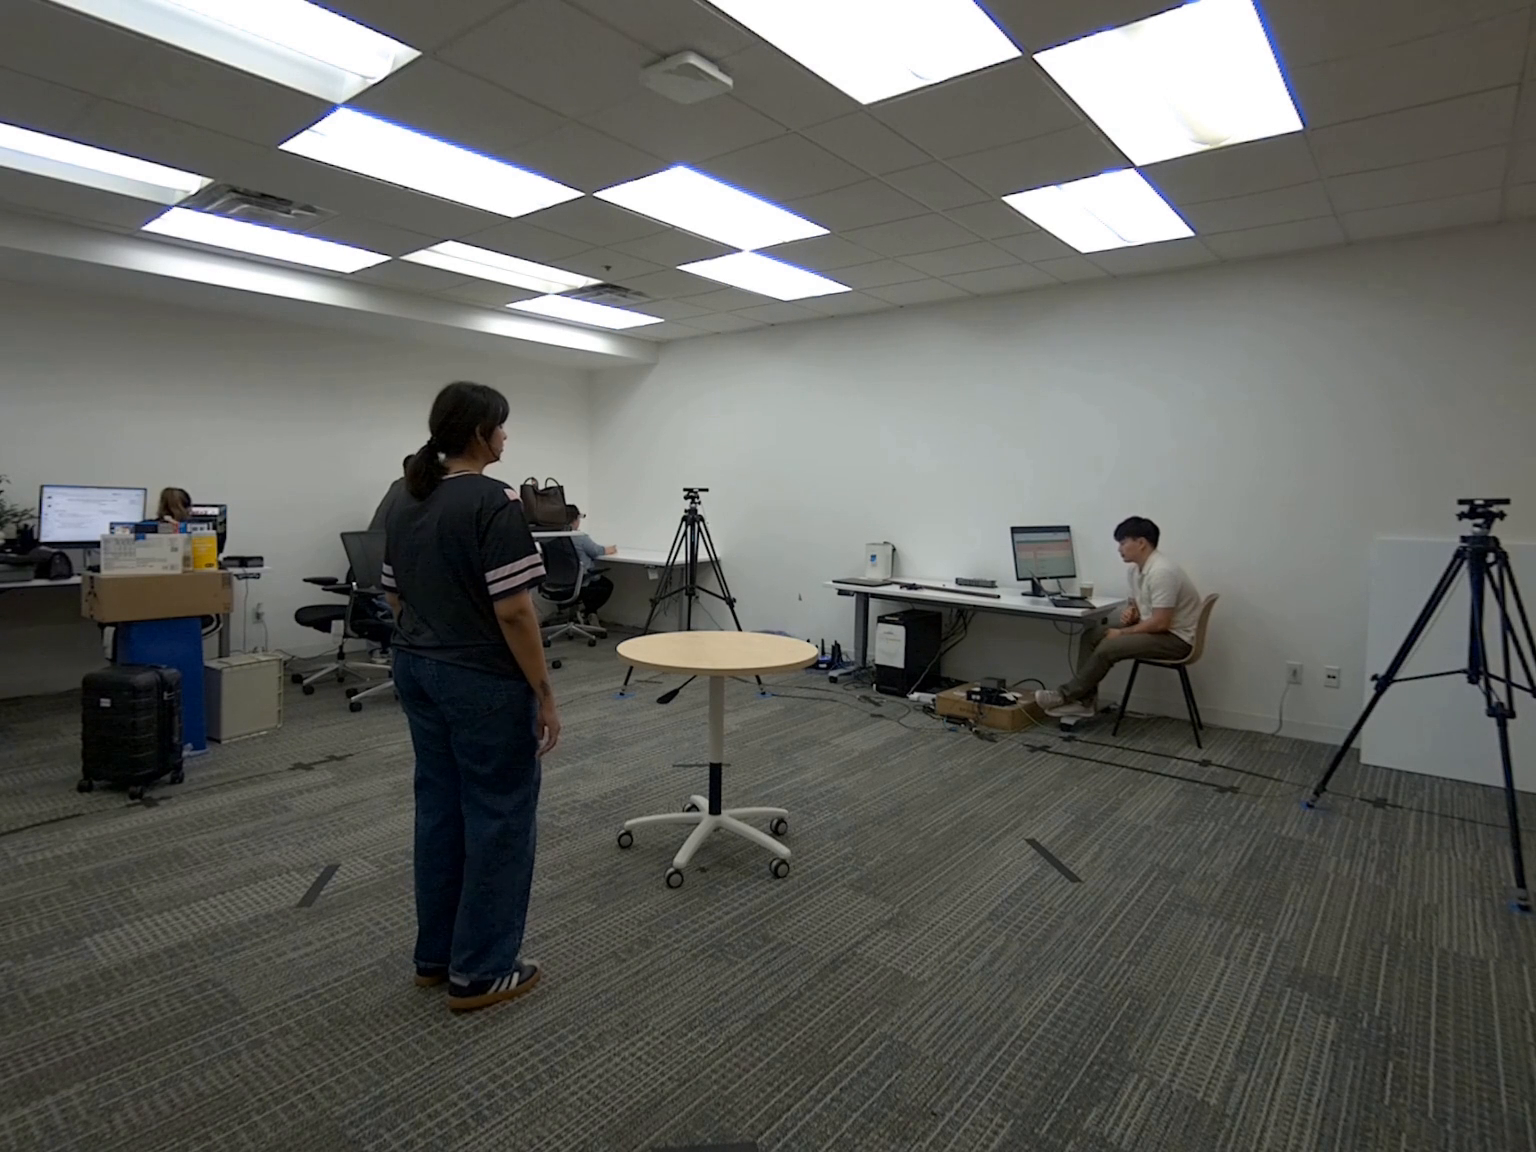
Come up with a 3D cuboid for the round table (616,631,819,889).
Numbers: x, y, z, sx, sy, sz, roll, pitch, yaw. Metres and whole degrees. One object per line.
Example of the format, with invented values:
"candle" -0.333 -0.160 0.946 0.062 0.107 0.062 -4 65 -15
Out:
"round table" -0.198 0.662 3.269 0.784 0.784 0.789 1 4 -2
